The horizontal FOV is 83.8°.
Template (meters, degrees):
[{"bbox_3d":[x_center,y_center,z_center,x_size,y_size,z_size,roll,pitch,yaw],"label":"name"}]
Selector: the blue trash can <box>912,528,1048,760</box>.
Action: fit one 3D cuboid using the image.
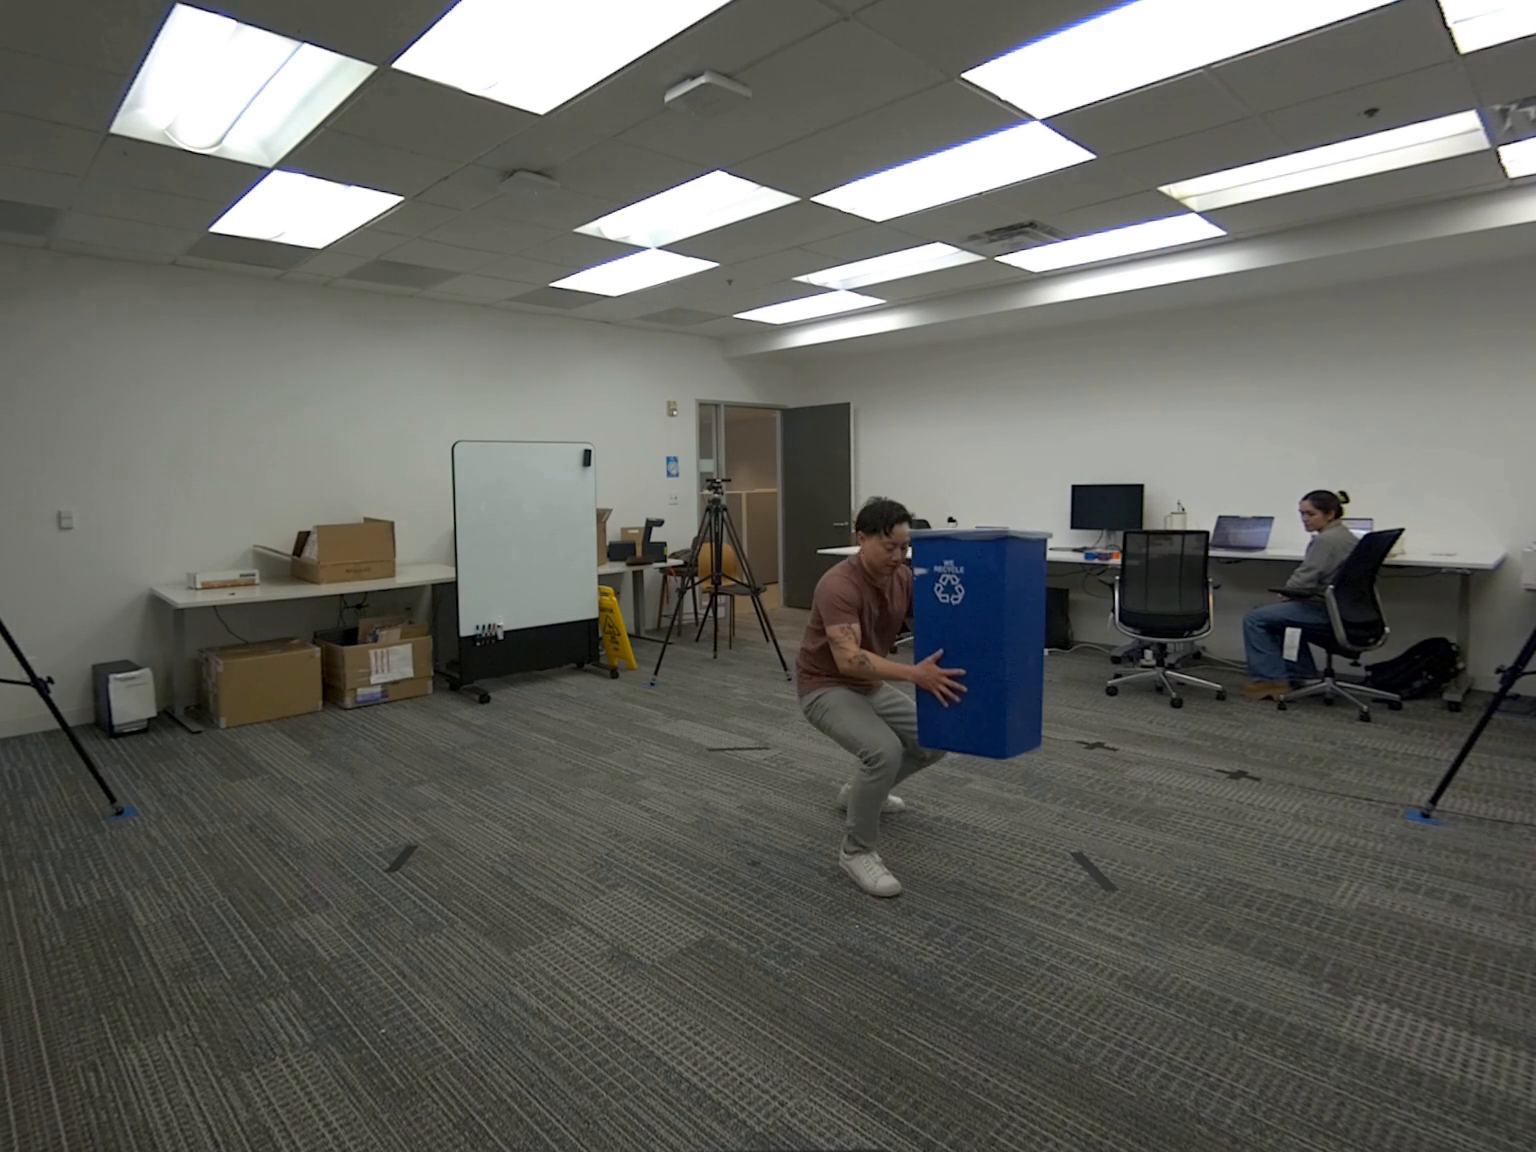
[{"bbox_3d":[0.711,0.204,2.839,0.384,0.715,0.367,-2,-2,40],"label":"blue trash can"}]
